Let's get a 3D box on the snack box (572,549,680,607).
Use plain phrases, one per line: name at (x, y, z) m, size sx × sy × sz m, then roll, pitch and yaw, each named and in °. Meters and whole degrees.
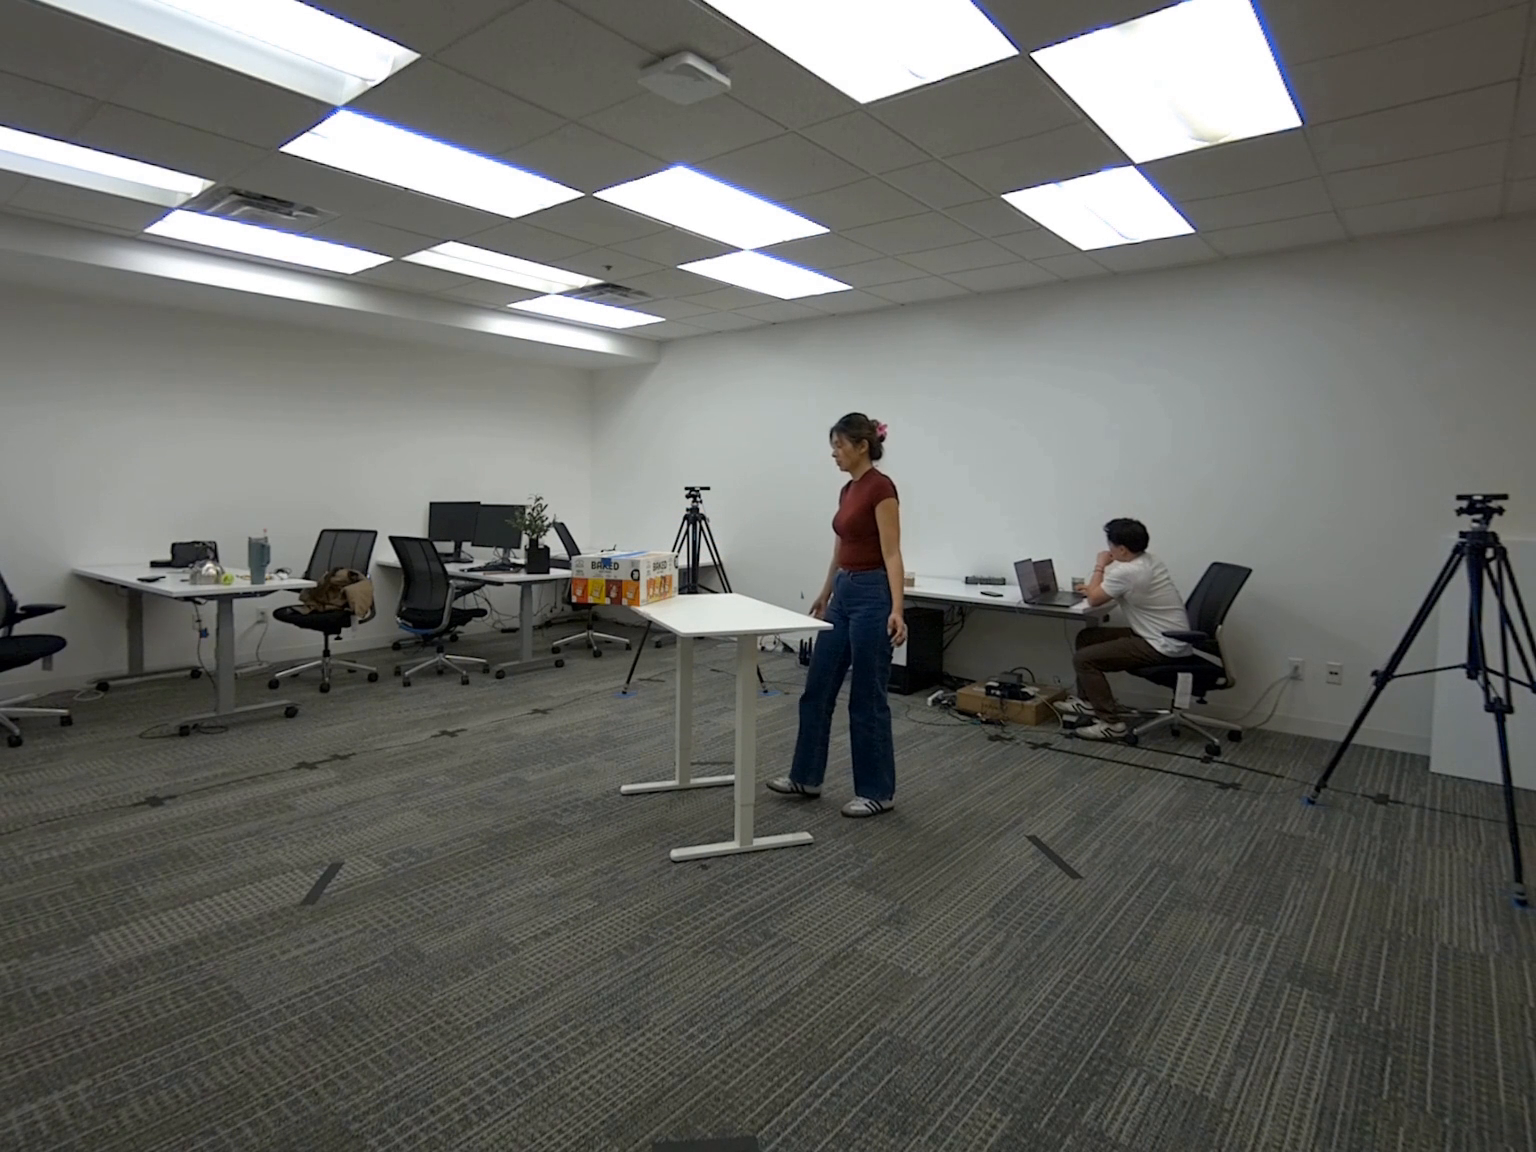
snack box at (-0.649, 0.000, 3.870) m, size 0.348 × 0.205 × 0.398 m, roll 3°, pitch 6°, yaw 20°
